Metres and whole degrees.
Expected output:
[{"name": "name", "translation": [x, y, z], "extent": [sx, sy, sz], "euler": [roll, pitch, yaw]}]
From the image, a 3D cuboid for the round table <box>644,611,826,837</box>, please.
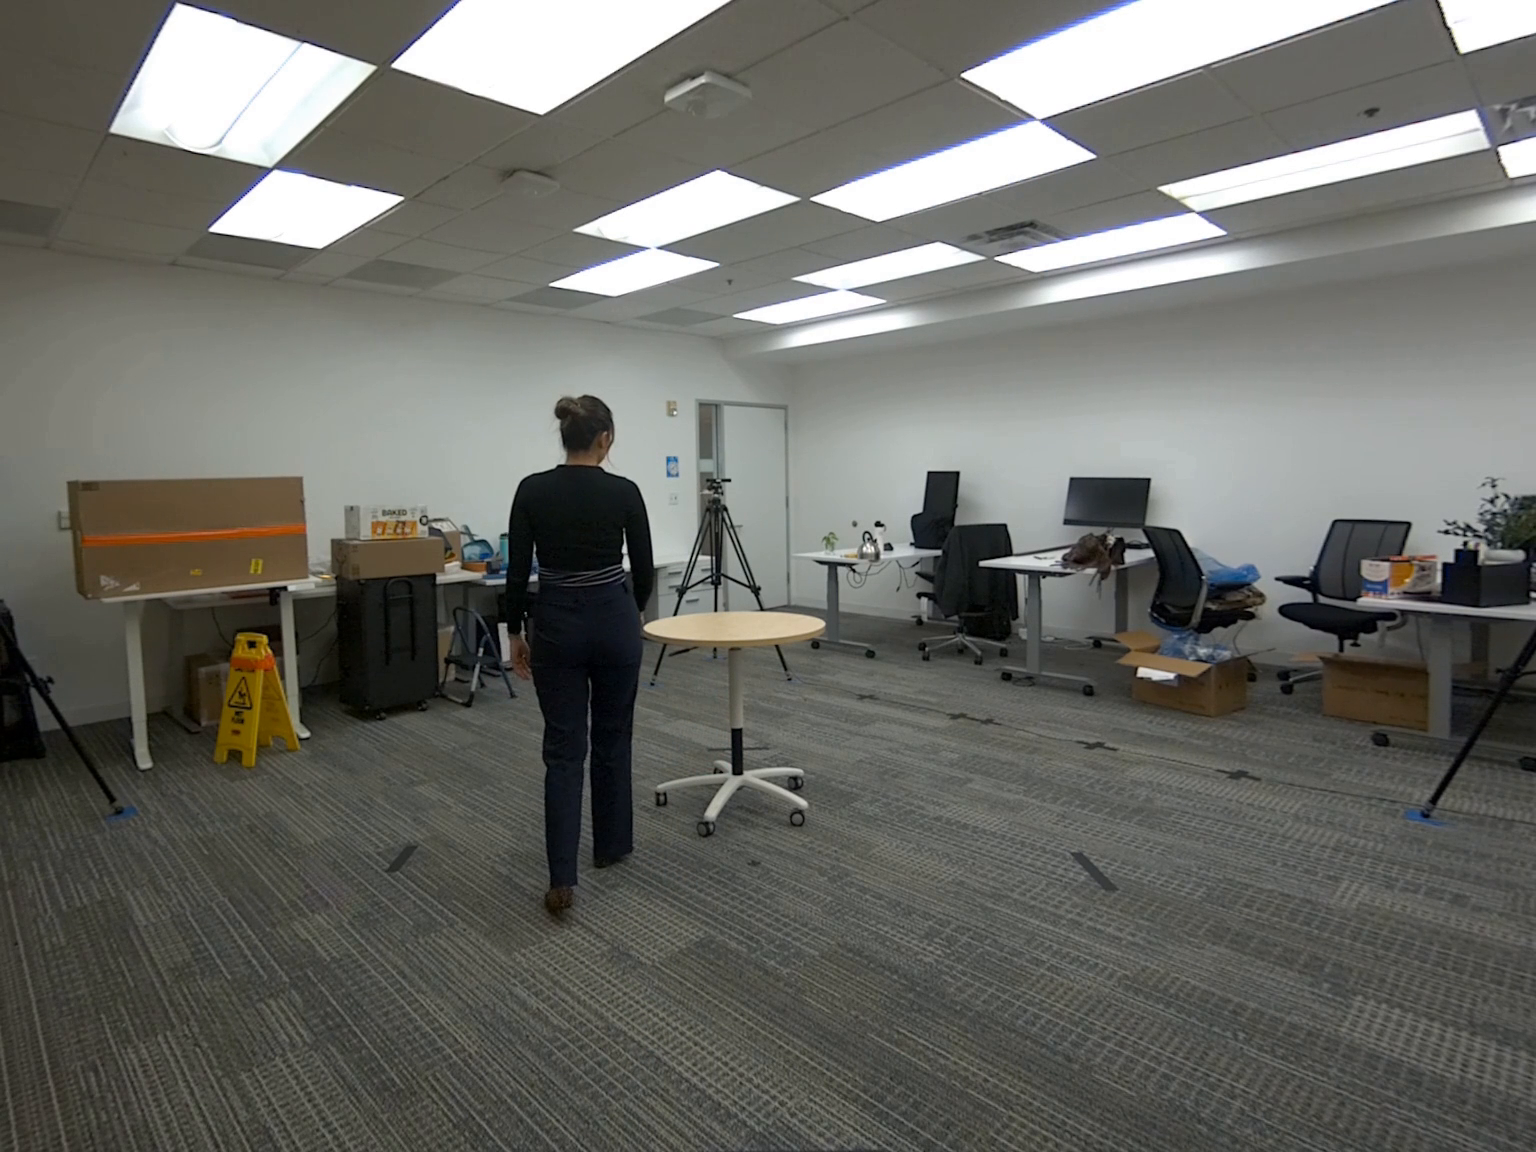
[{"name": "round table", "translation": [-0.131, 0.598, 3.633], "extent": [0.763, 0.791, 0.767], "euler": [-1, 4, -2]}]
